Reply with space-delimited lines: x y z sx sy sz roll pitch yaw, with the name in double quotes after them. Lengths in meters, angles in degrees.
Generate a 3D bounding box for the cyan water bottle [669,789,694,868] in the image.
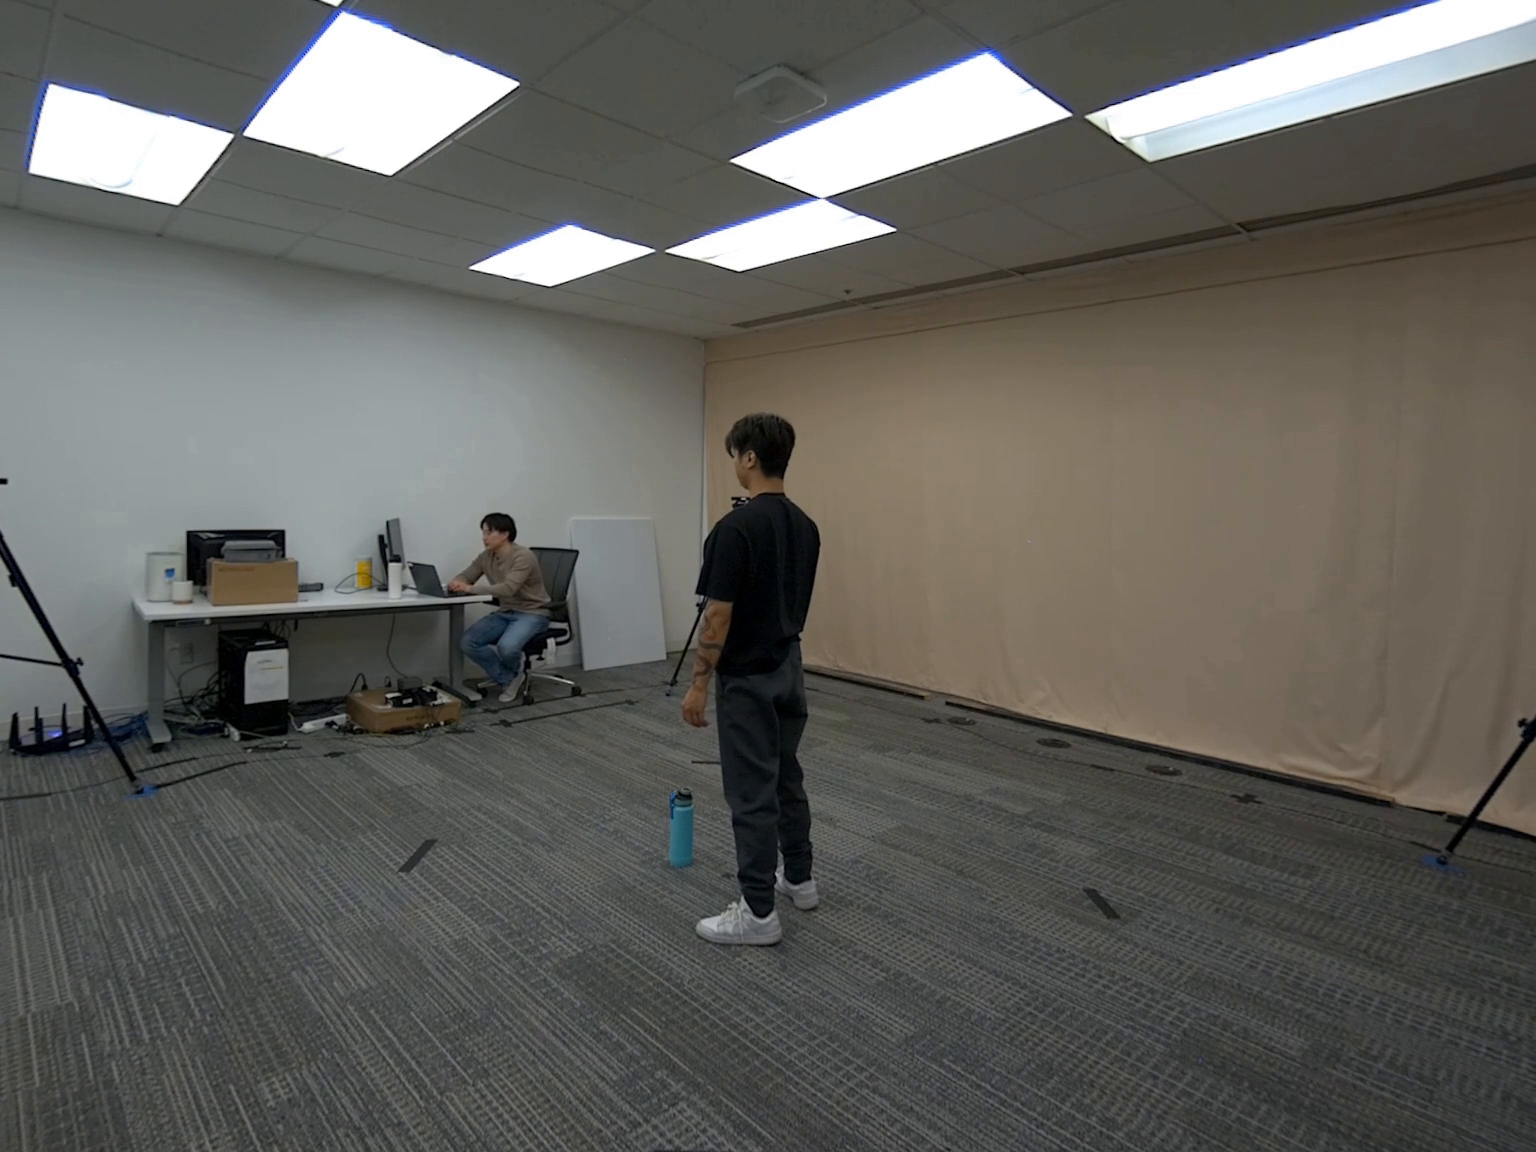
-0.339 0.953 3.206 0.092 0.282 0.092 1 4 -1 "cyan water bottle"
